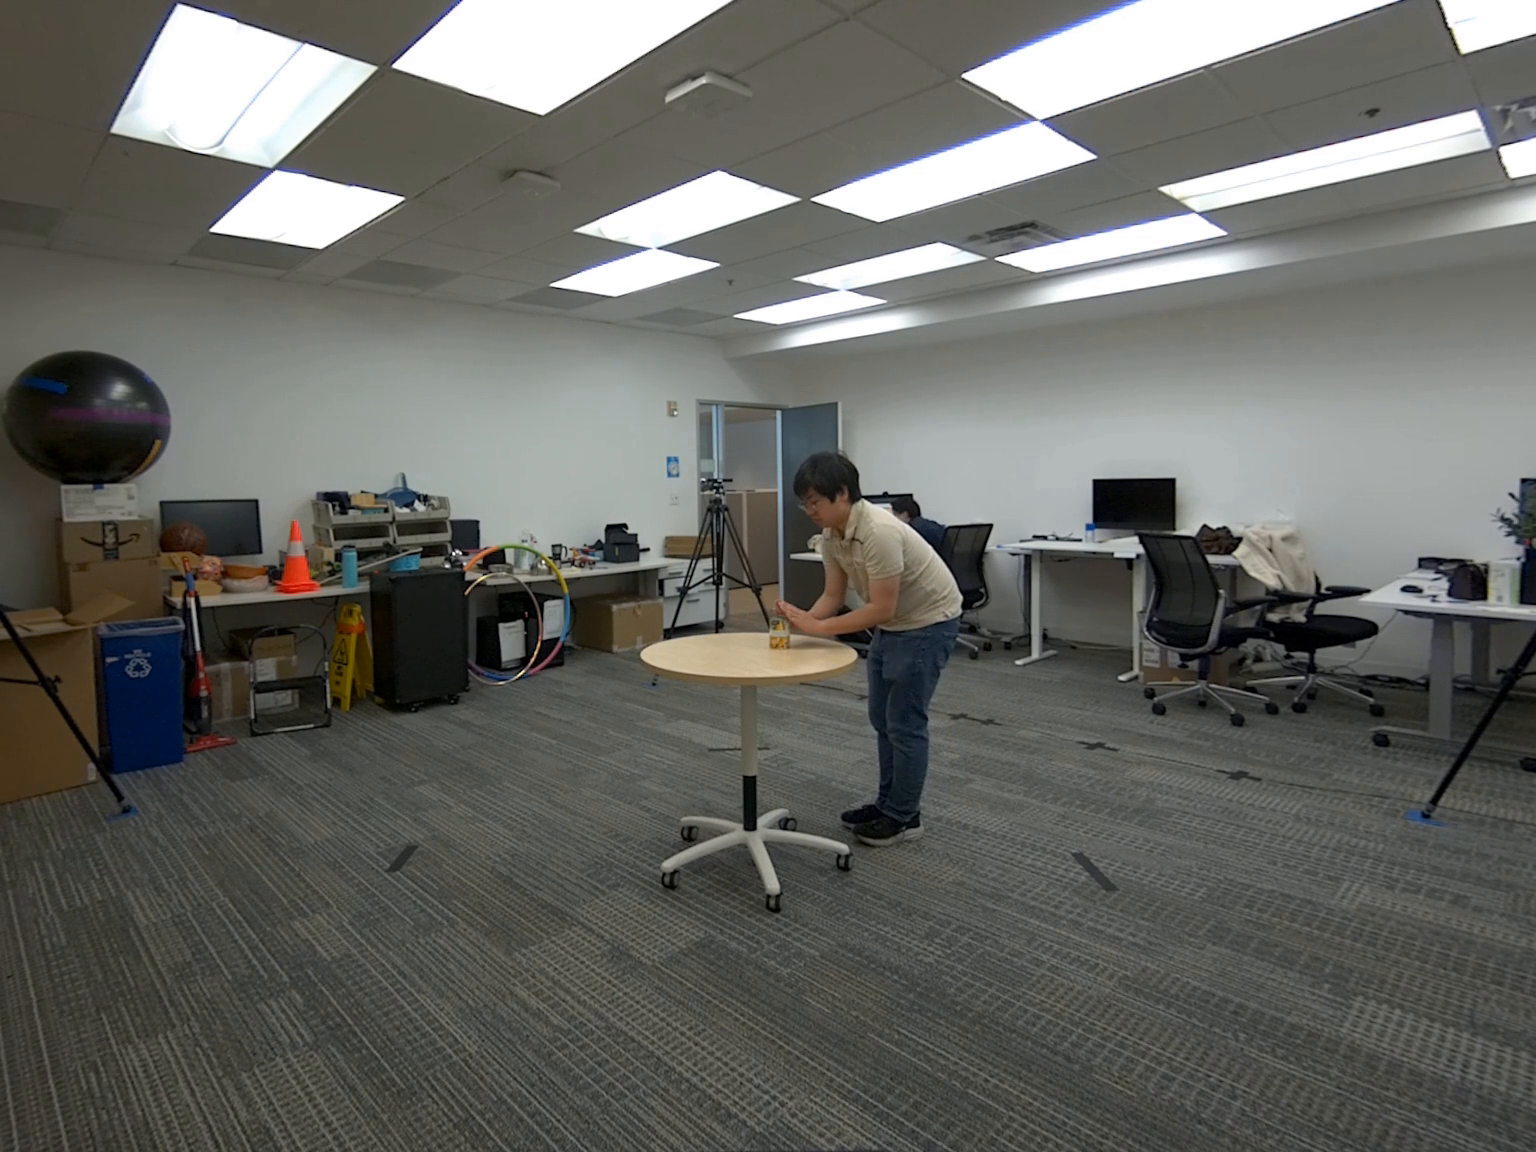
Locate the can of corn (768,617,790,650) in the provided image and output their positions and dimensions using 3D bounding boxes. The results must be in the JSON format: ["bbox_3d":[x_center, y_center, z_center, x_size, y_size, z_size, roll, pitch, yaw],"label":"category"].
[{"bbox_3d":[0.043,0.206,3.105,0.074,0.110,0.075,1,6,-2],"label":"can of corn"}]
